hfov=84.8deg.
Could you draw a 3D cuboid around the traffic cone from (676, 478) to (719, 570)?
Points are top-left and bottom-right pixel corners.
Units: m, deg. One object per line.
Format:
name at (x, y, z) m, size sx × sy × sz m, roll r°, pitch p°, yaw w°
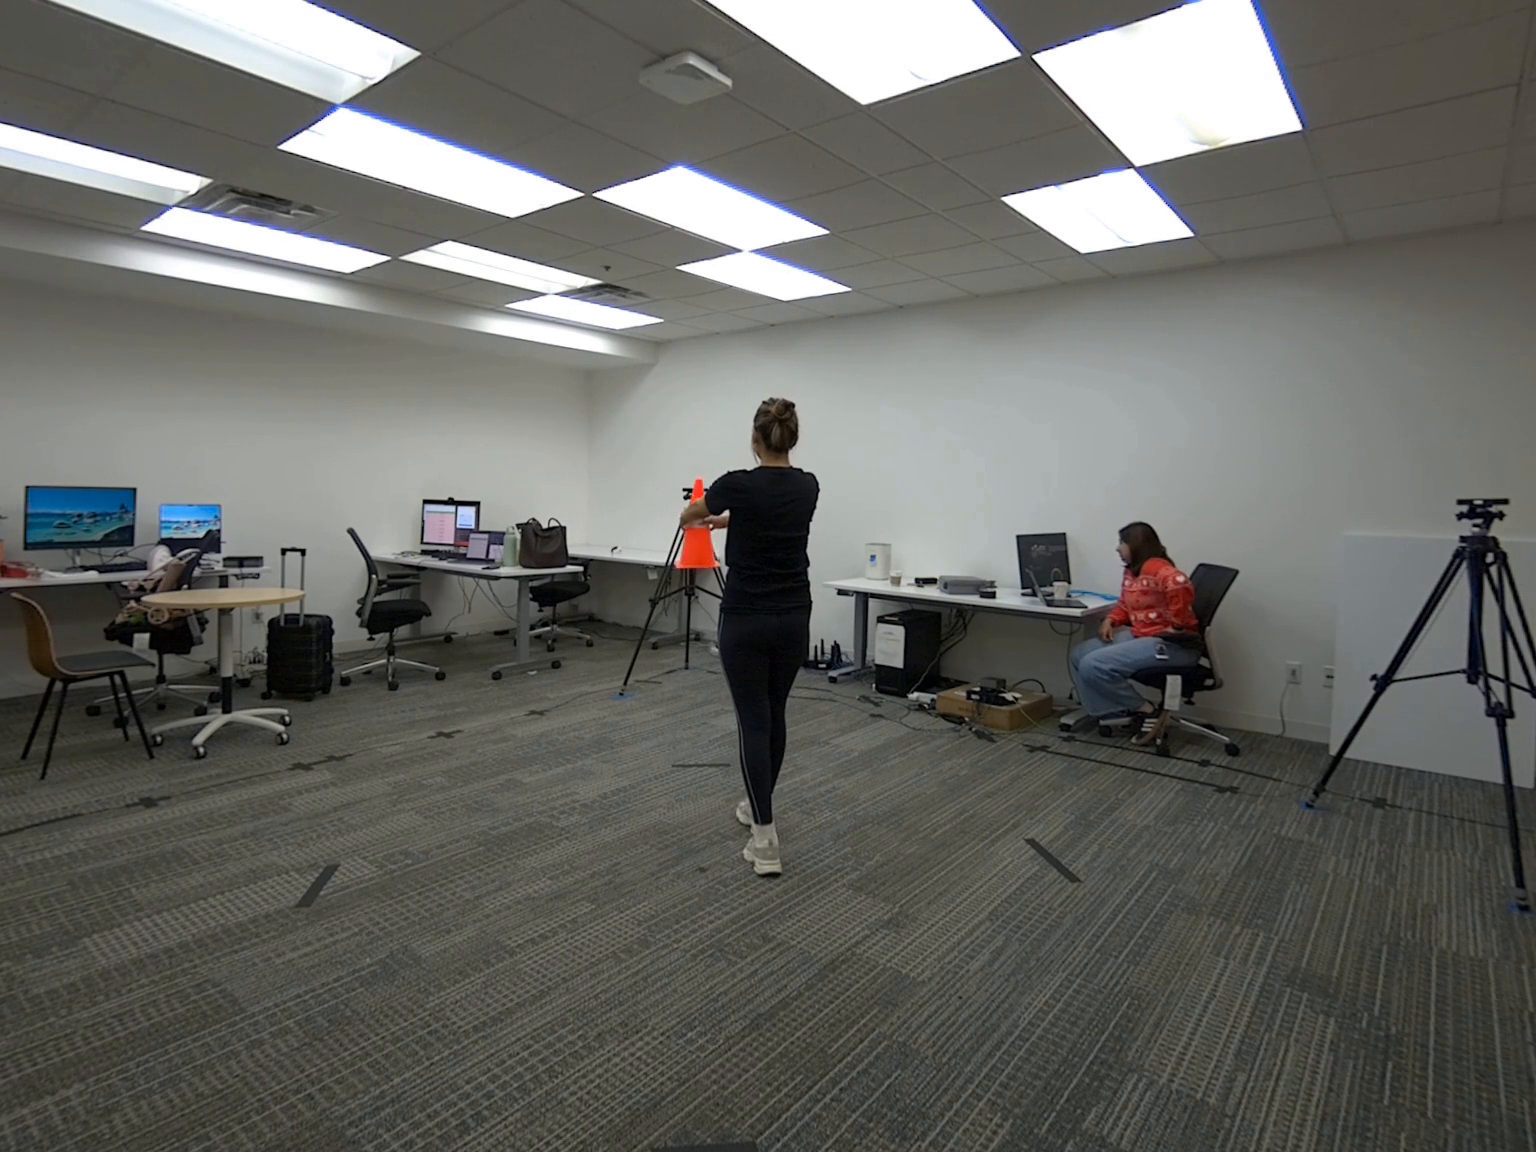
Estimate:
traffic cone at (-0.320, -0.242, 3.757) m, size 0.198 × 0.381 × 0.212 m, roll -5°, pitch 10°, yaw -35°
